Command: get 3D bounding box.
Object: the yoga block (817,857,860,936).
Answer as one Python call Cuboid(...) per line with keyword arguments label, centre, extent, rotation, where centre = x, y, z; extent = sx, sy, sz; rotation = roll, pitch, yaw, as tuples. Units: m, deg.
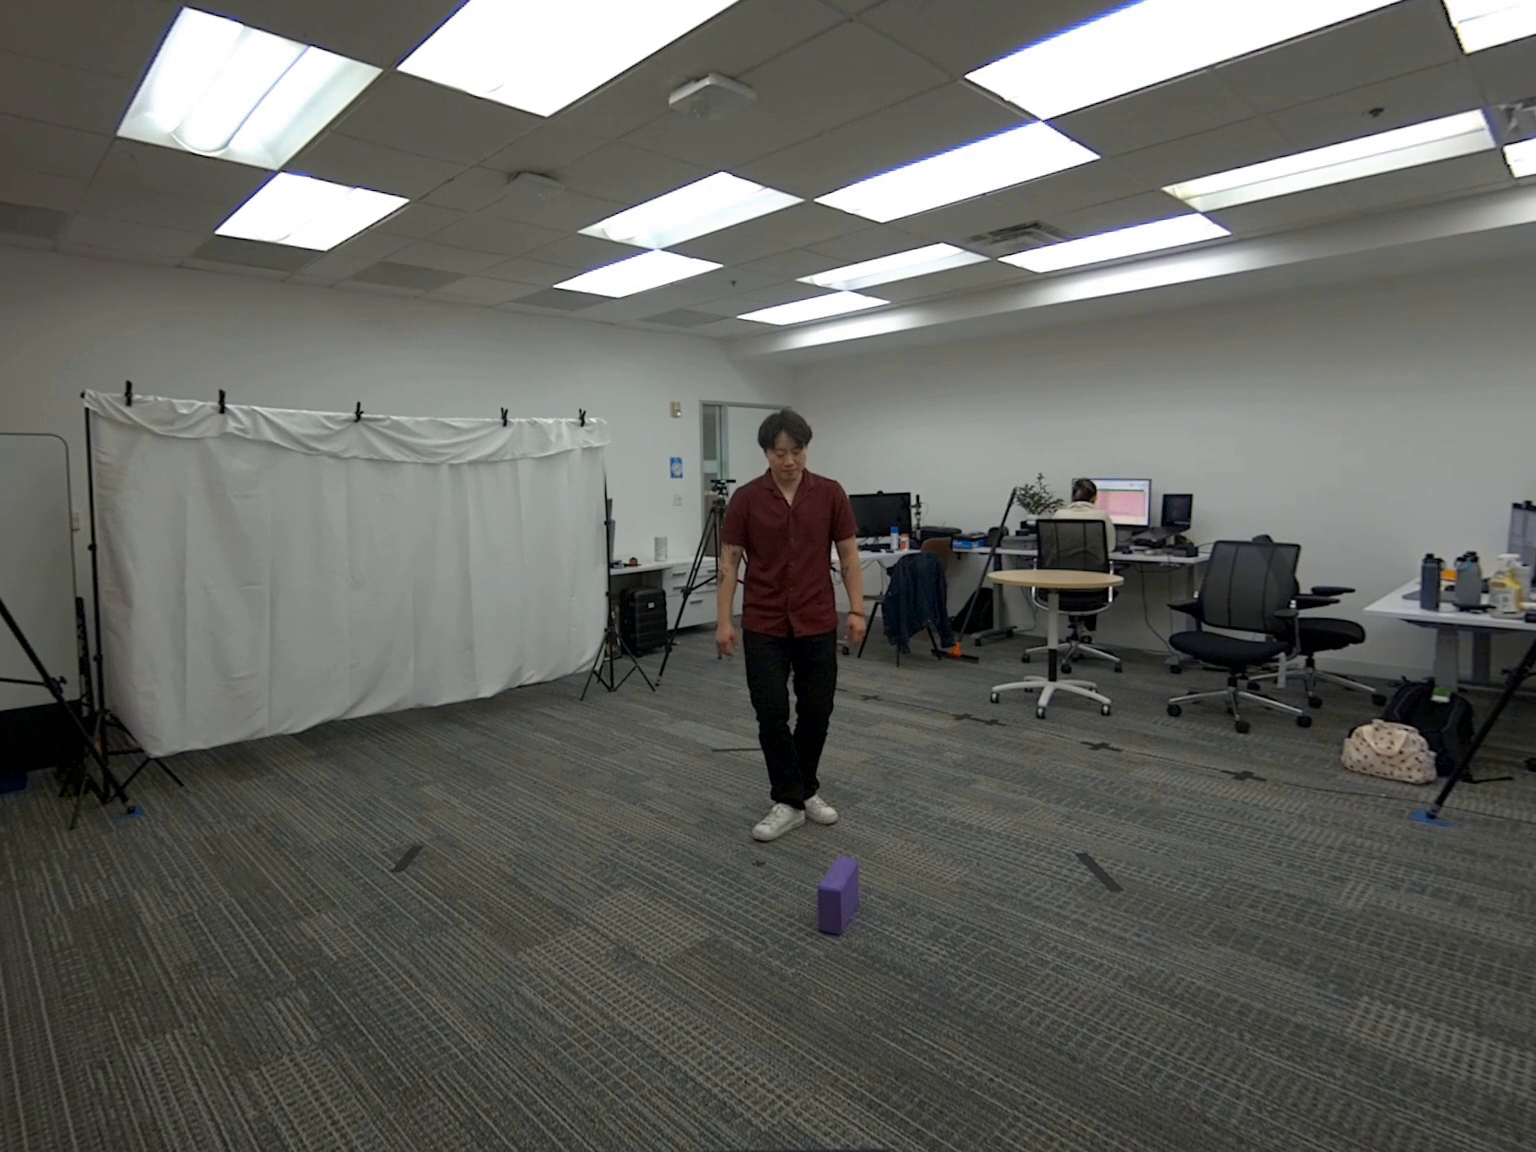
Cuboid(label="yoga block", centre=(0.230, 1.016, 2.713), extent=(0.078, 0.148, 0.226), rotation=(2, 8, 19))
